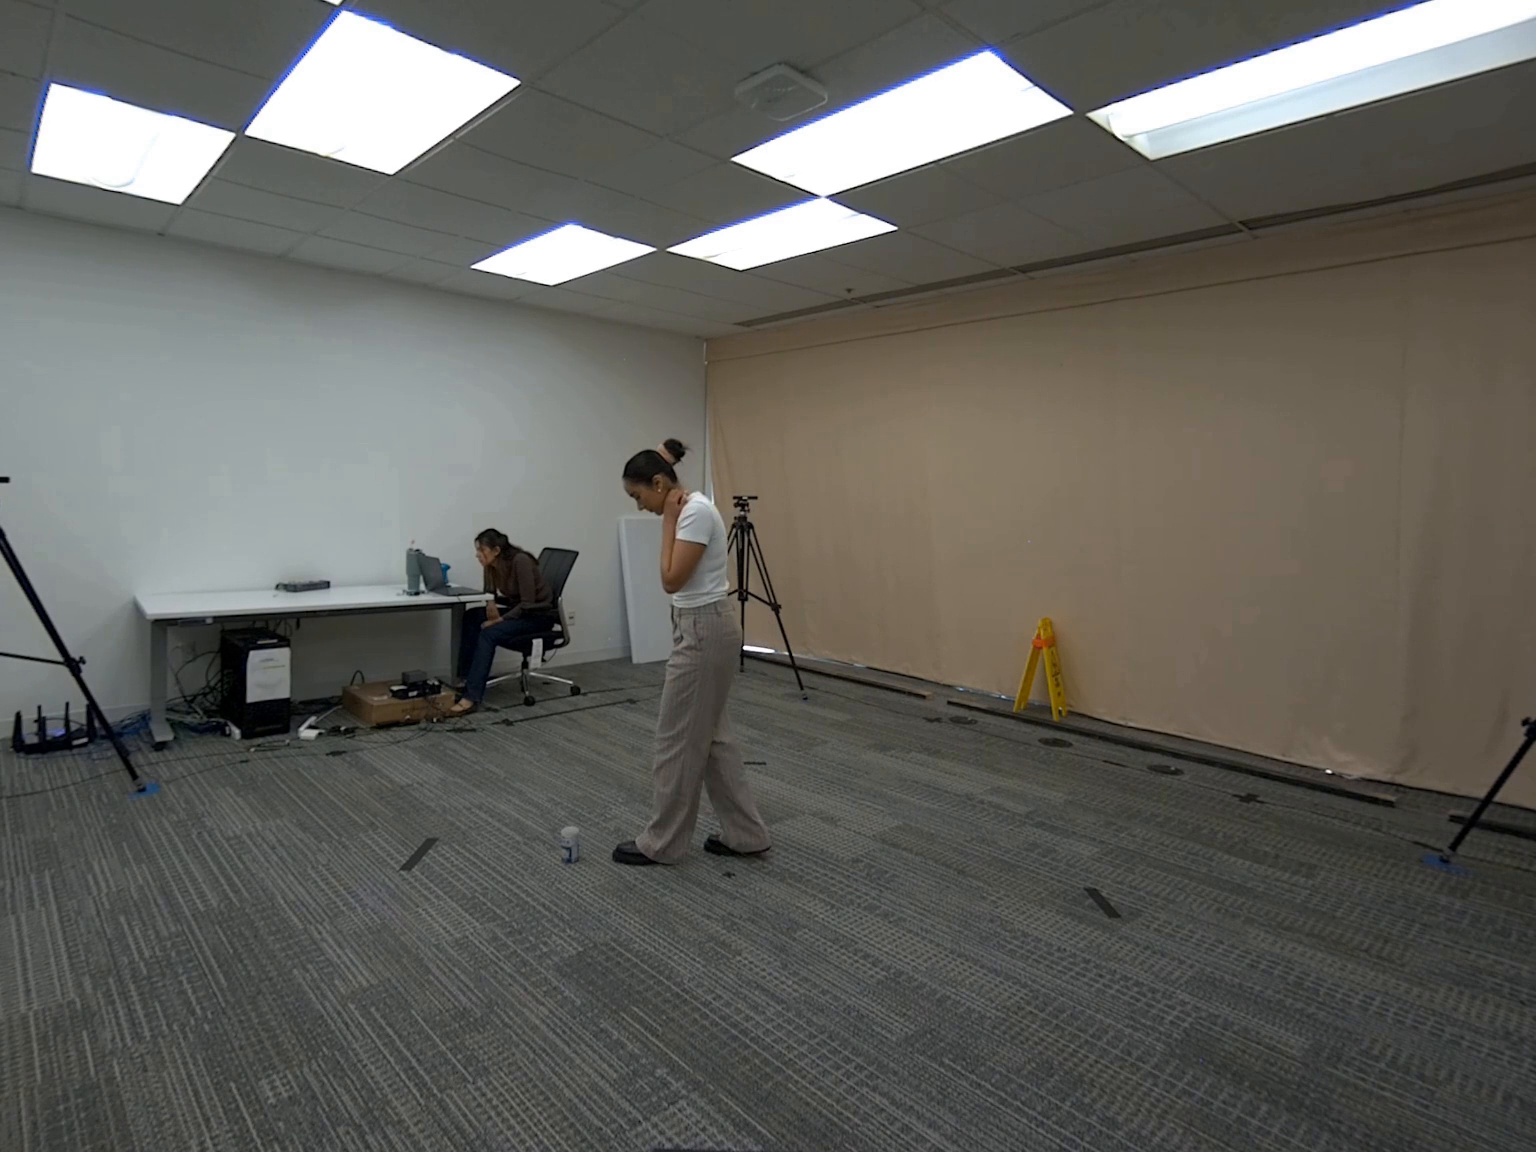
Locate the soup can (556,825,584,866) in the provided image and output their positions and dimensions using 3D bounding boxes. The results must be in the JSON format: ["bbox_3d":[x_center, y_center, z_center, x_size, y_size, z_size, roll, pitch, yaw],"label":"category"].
[{"bbox_3d":[-0.749,1.013,3.188,0.067,0.121,0.067,-3,4,-1],"label":"soup can"}]
